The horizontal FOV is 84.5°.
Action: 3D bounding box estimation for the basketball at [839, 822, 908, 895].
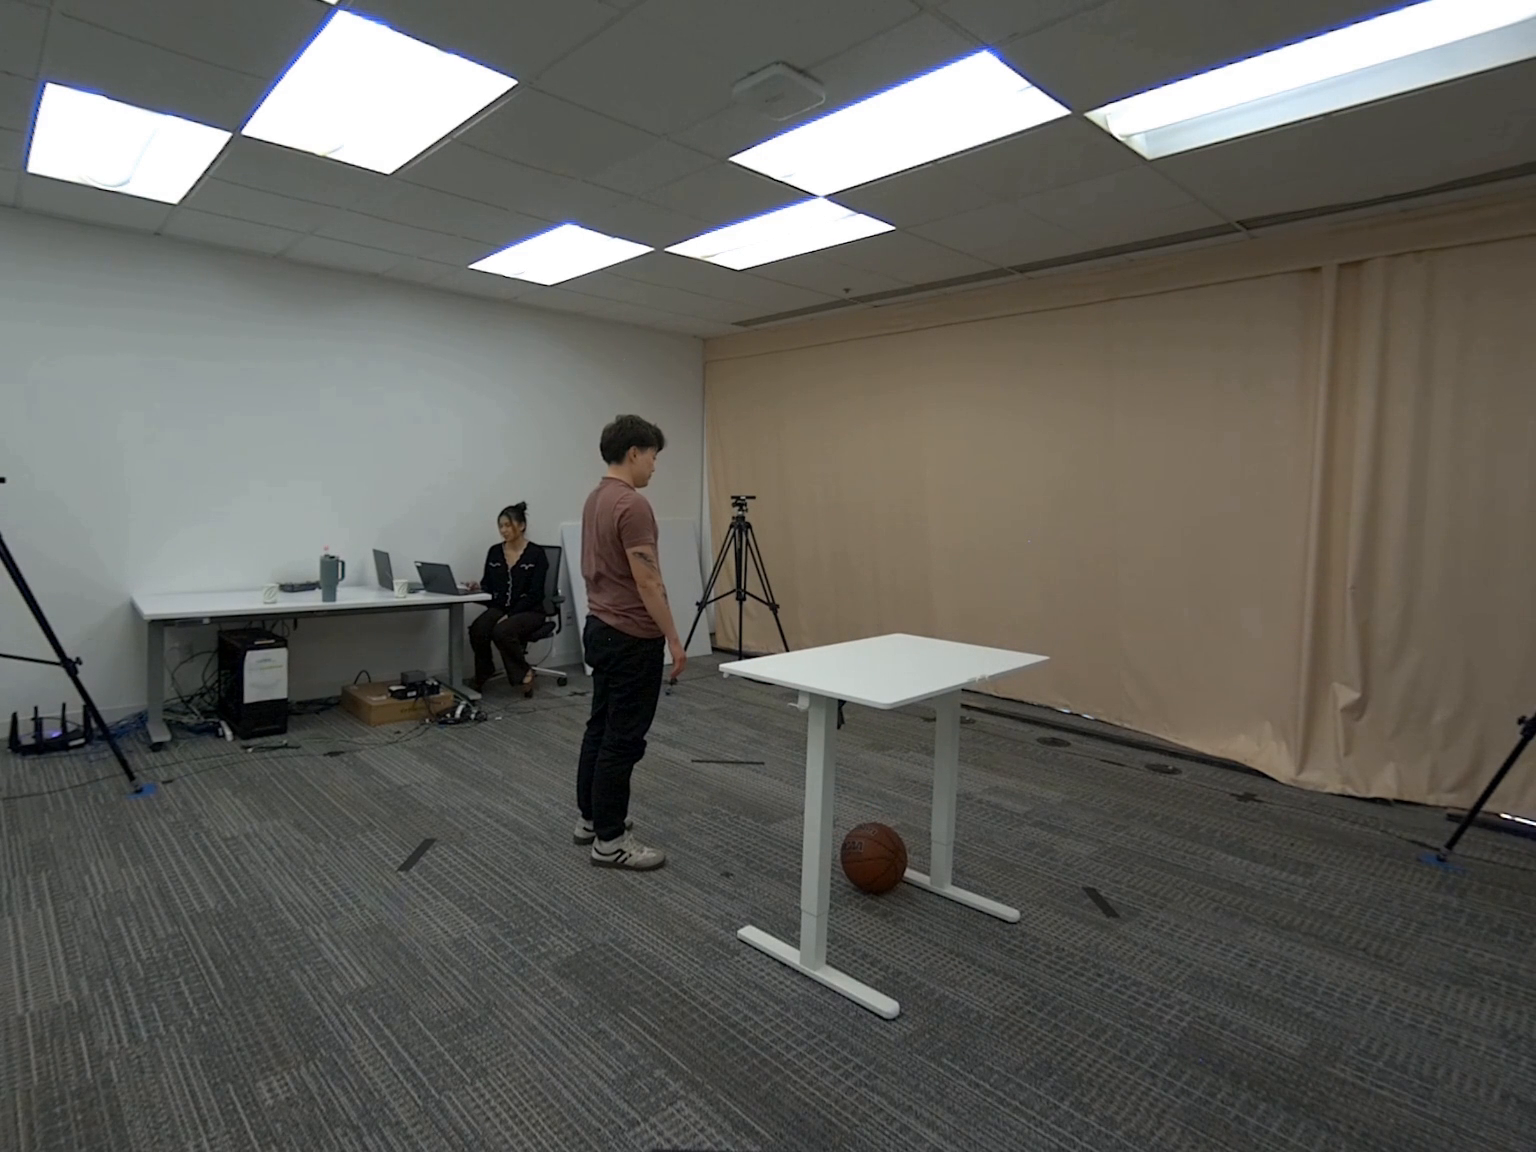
[{"bbox_3d":[0.369,1.010,3.007,0.236,0.235,0.237,1,4,-1],"label":"basketball"}]
